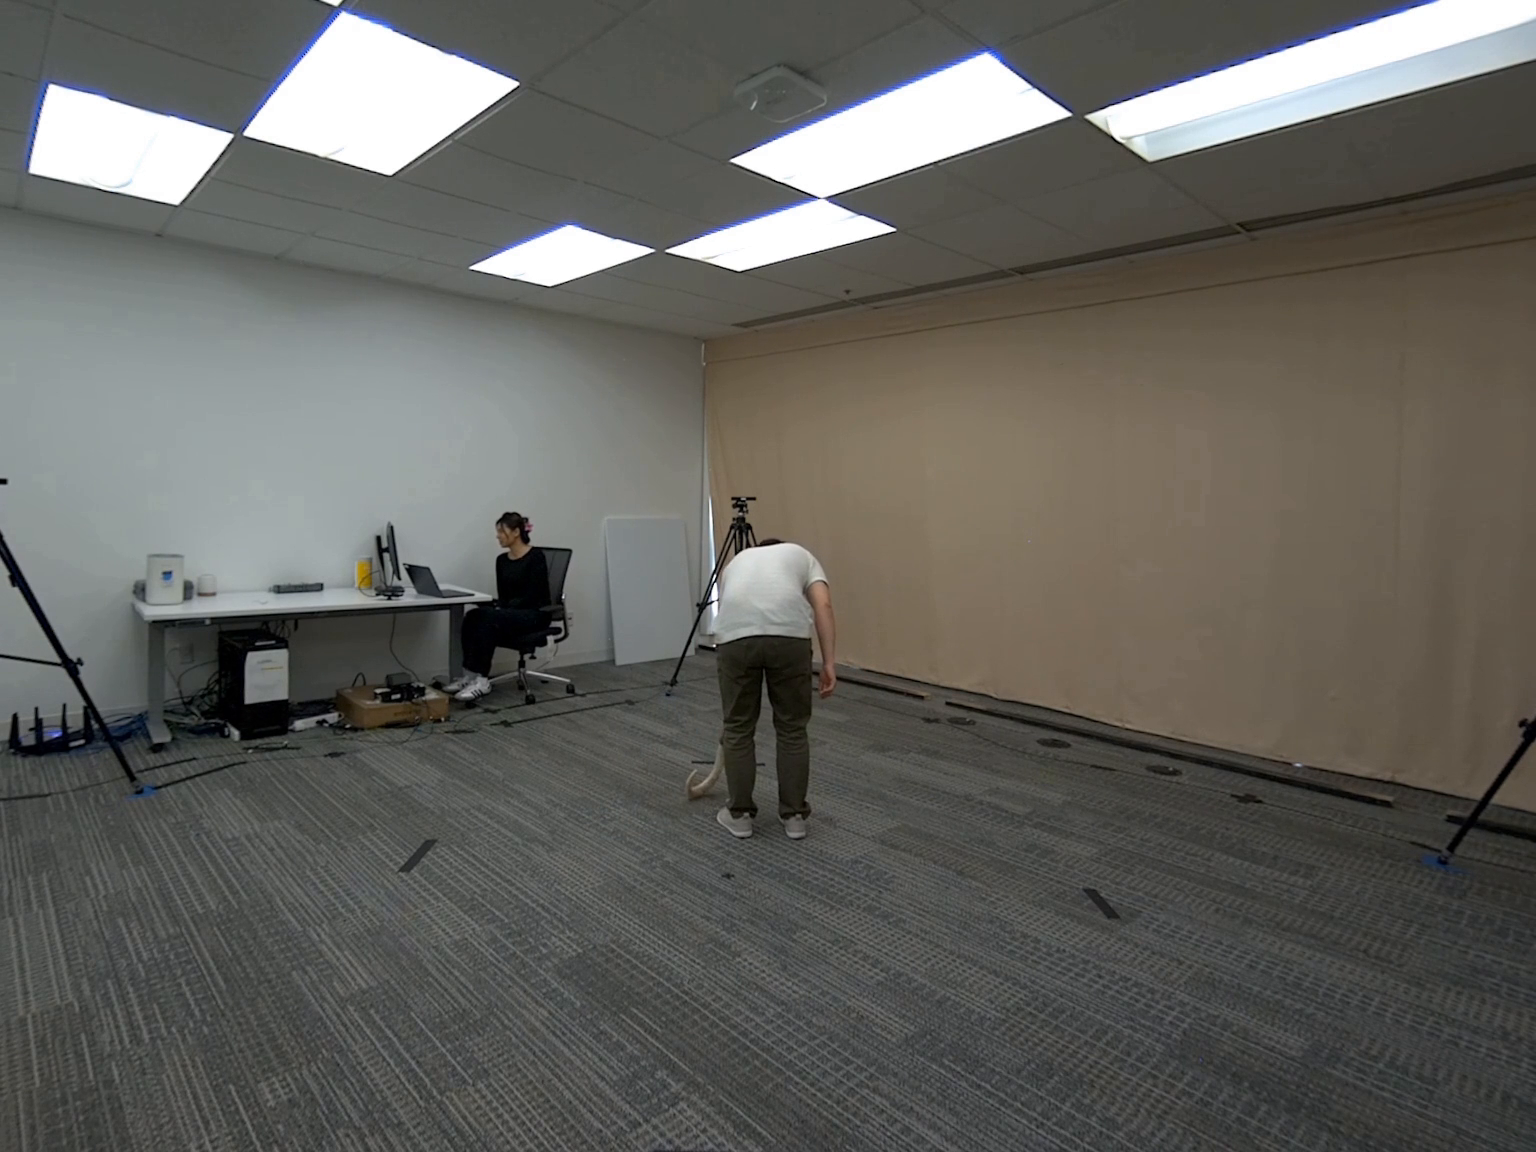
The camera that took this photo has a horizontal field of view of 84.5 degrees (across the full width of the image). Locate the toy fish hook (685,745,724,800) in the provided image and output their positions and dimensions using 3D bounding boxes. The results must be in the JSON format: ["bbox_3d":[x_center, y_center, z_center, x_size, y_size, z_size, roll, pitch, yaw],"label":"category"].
[{"bbox_3d":[-0.260,0.816,3.824,0.049,0.502,0.221,32,26,27],"label":"toy fish hook"}]
